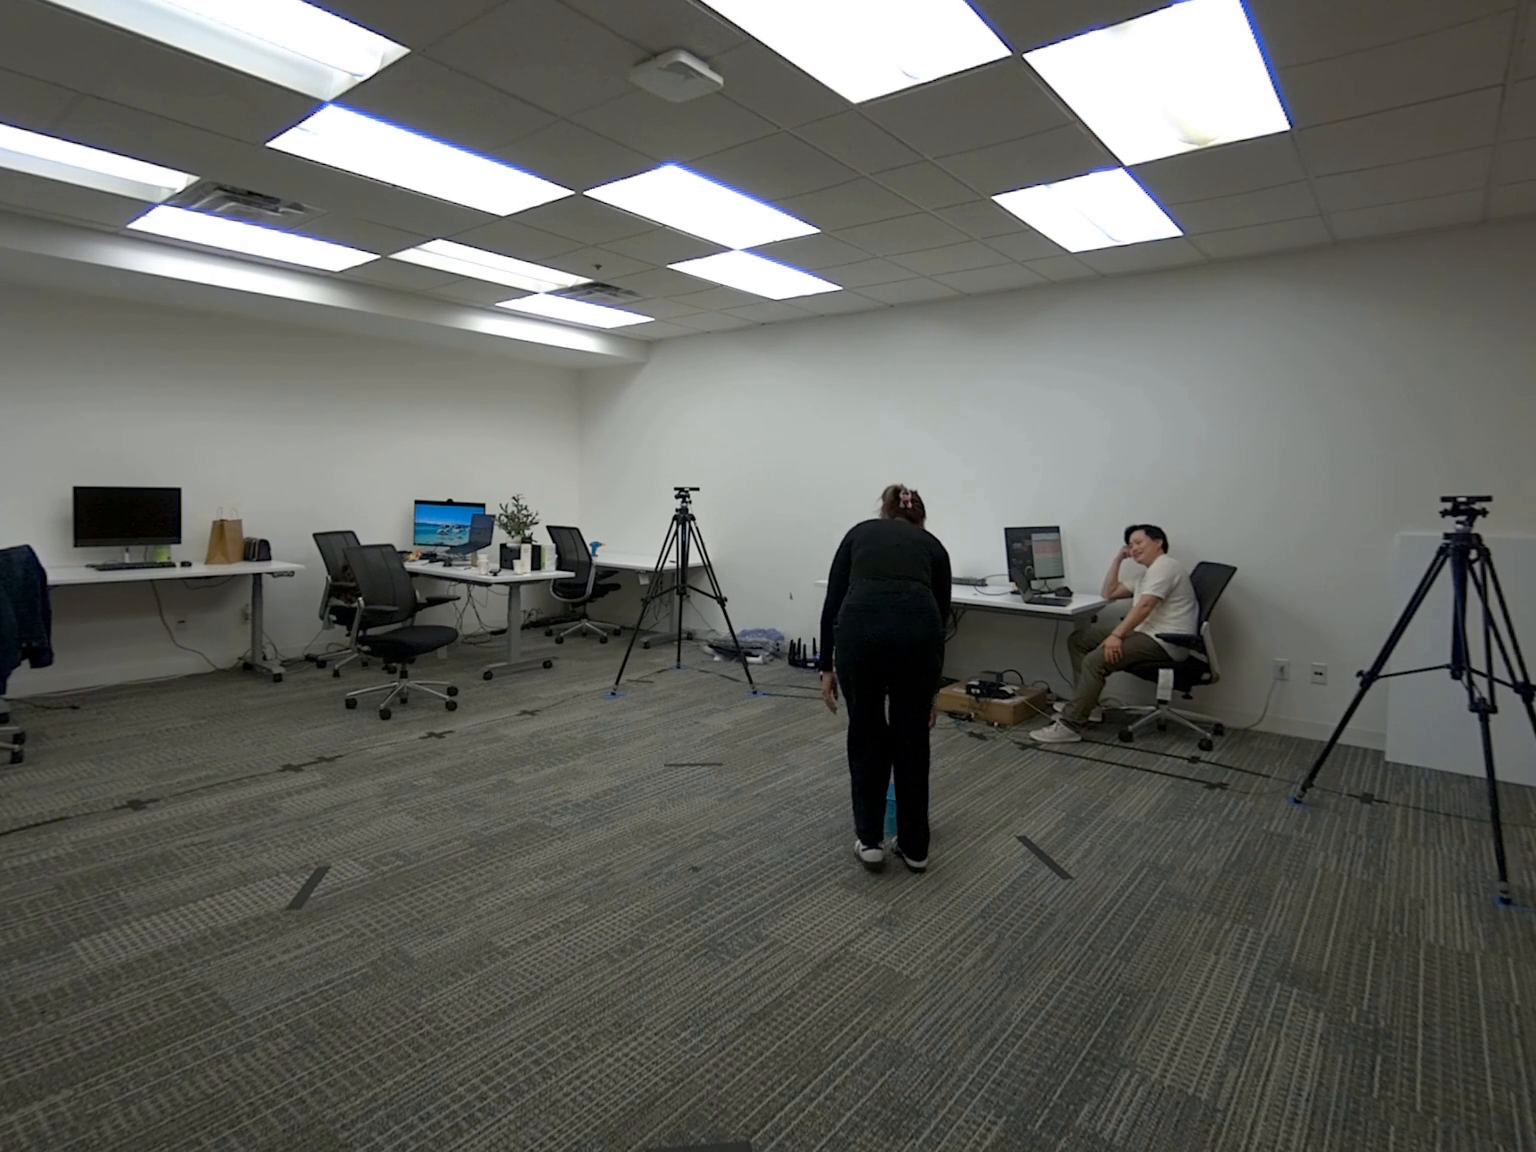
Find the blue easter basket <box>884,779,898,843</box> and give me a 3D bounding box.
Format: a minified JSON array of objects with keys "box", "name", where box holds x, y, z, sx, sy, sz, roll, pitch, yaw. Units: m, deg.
[{"box":[0.547,0.958,3.534,0.243,0.155,0.245,1,5,-2],"name":"blue easter basket"}]
